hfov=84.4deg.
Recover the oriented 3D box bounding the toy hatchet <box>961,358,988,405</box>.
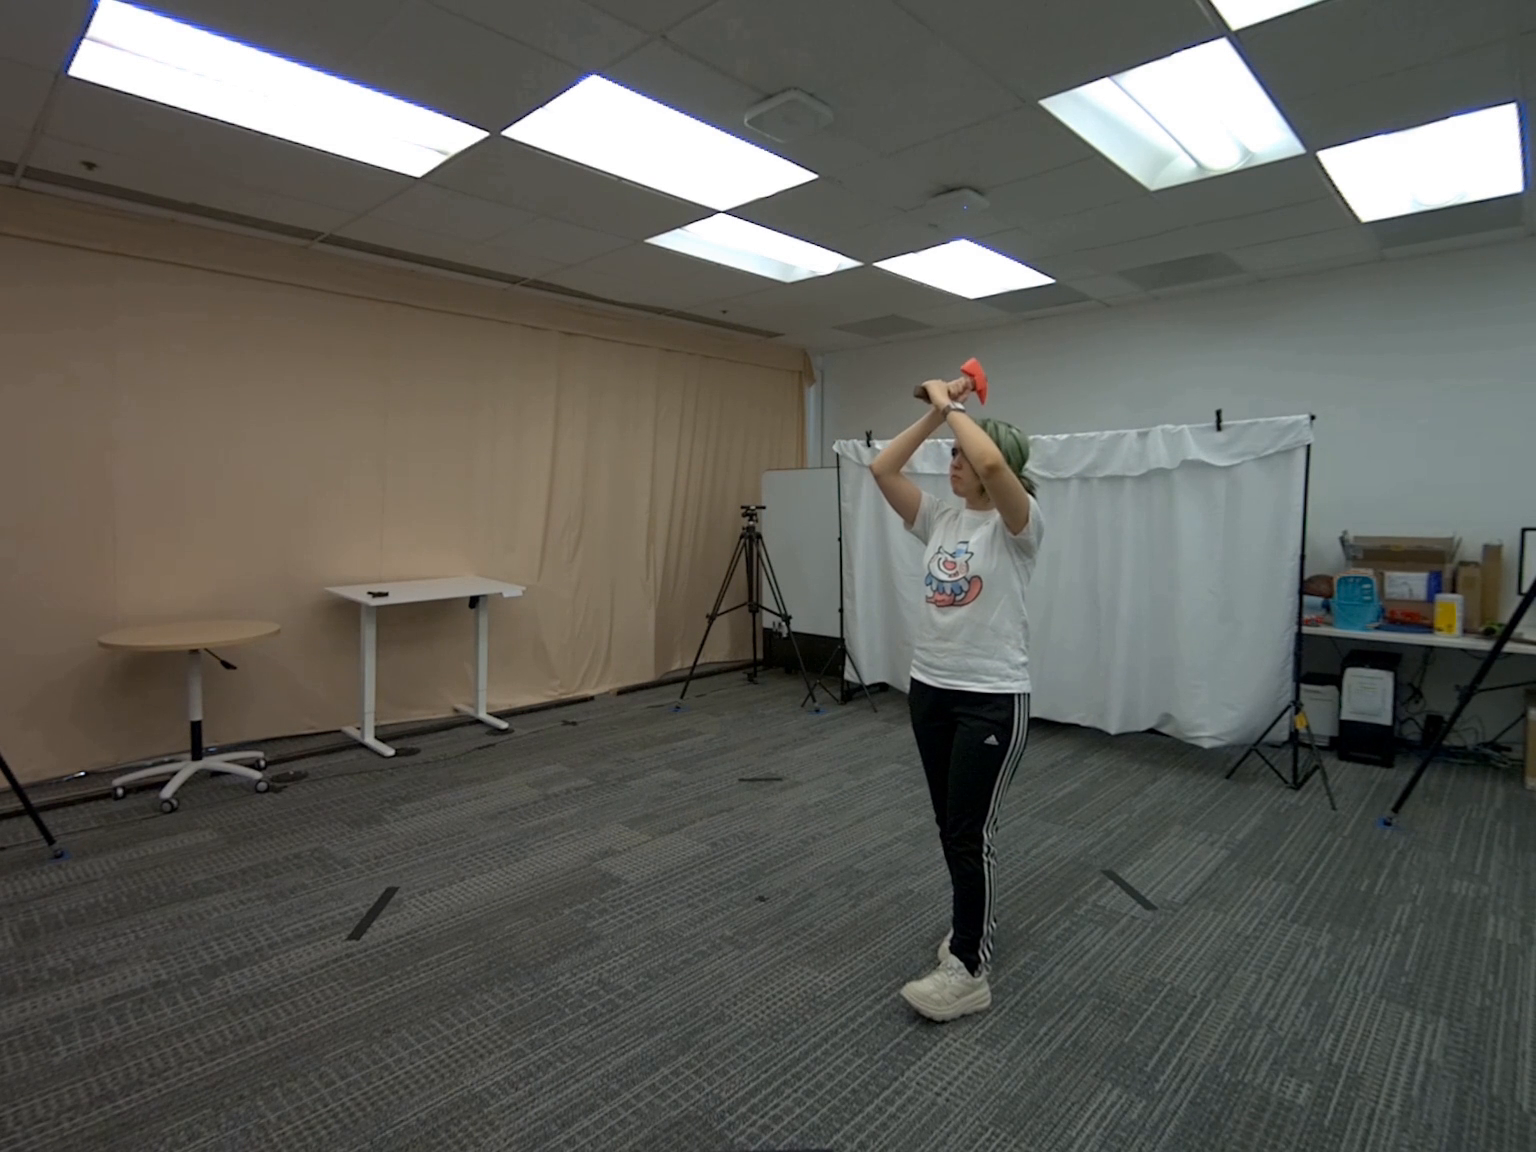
[{"bbox_3d":[0.520,-0.561,2.373,0.263,0.131,0.030,1,3,-27],"label":"toy hatchet"}]
